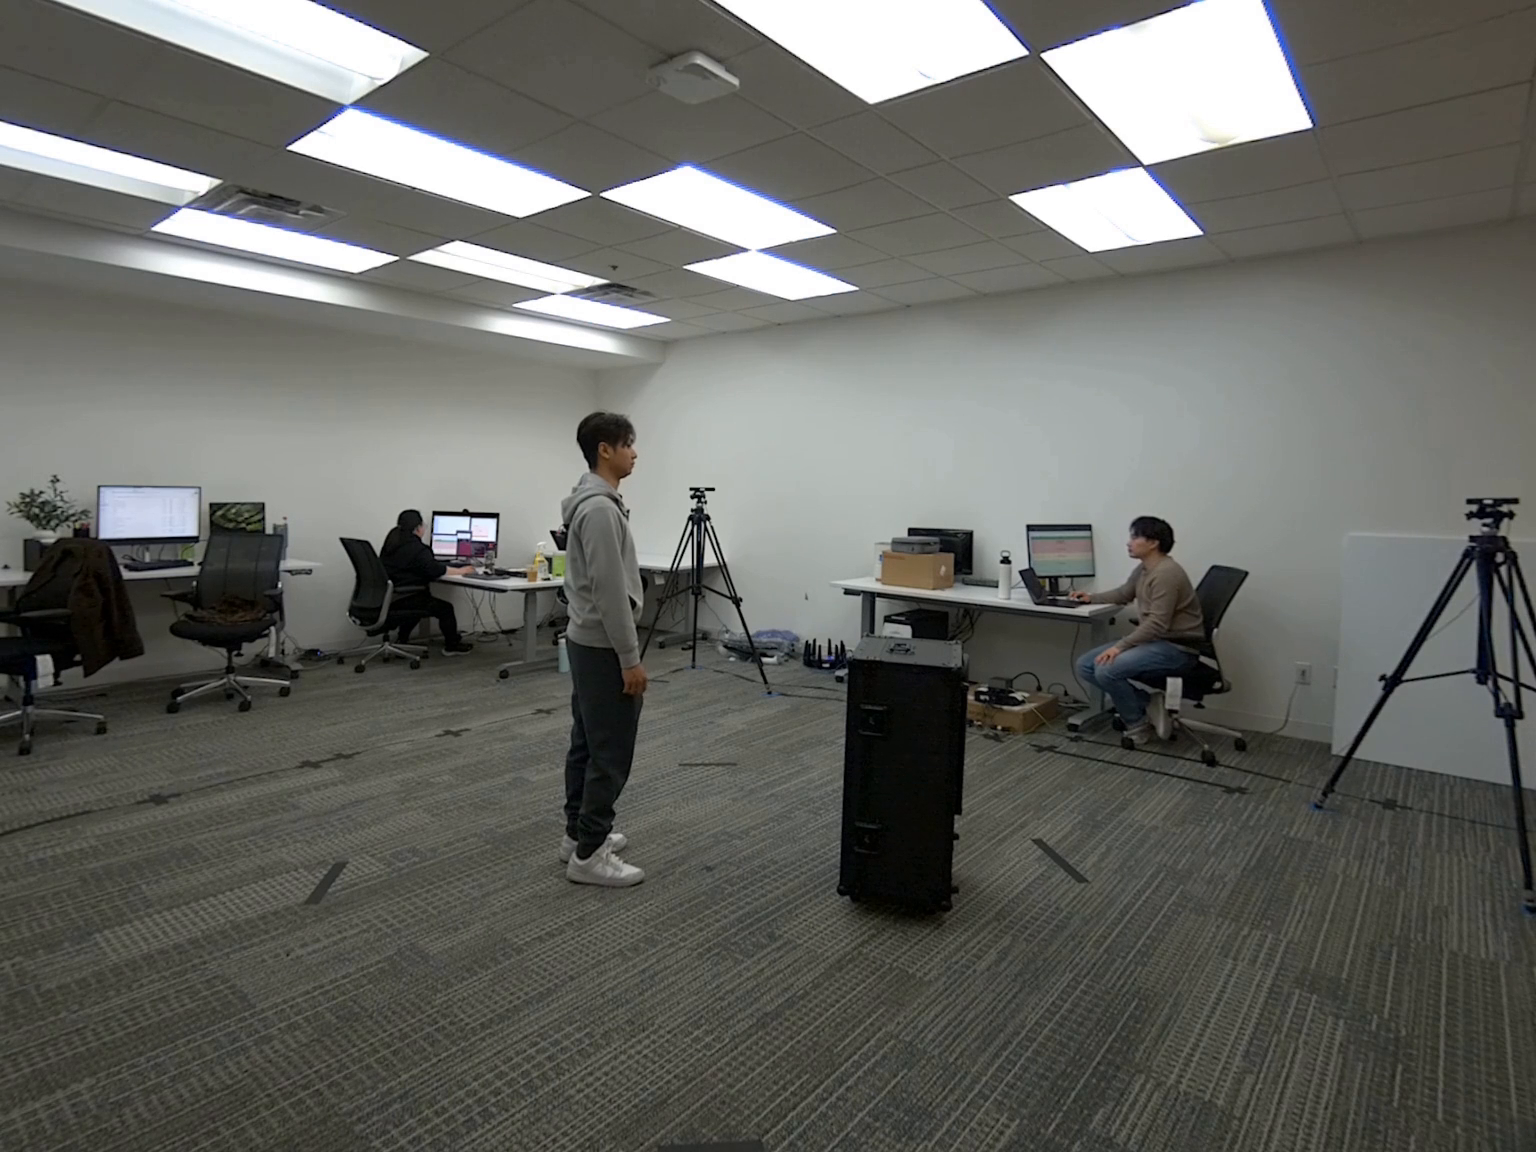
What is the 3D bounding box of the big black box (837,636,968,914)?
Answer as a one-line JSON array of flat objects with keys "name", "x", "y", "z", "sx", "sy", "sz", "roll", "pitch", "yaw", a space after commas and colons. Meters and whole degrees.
[{"name": "big black box", "x": 0.475, "y": 0.672, "z": 2.936, "sx": 0.403, "sy": 0.858, "sz": 0.514, "roll": 3, "pitch": 4, "yaw": 15}]
